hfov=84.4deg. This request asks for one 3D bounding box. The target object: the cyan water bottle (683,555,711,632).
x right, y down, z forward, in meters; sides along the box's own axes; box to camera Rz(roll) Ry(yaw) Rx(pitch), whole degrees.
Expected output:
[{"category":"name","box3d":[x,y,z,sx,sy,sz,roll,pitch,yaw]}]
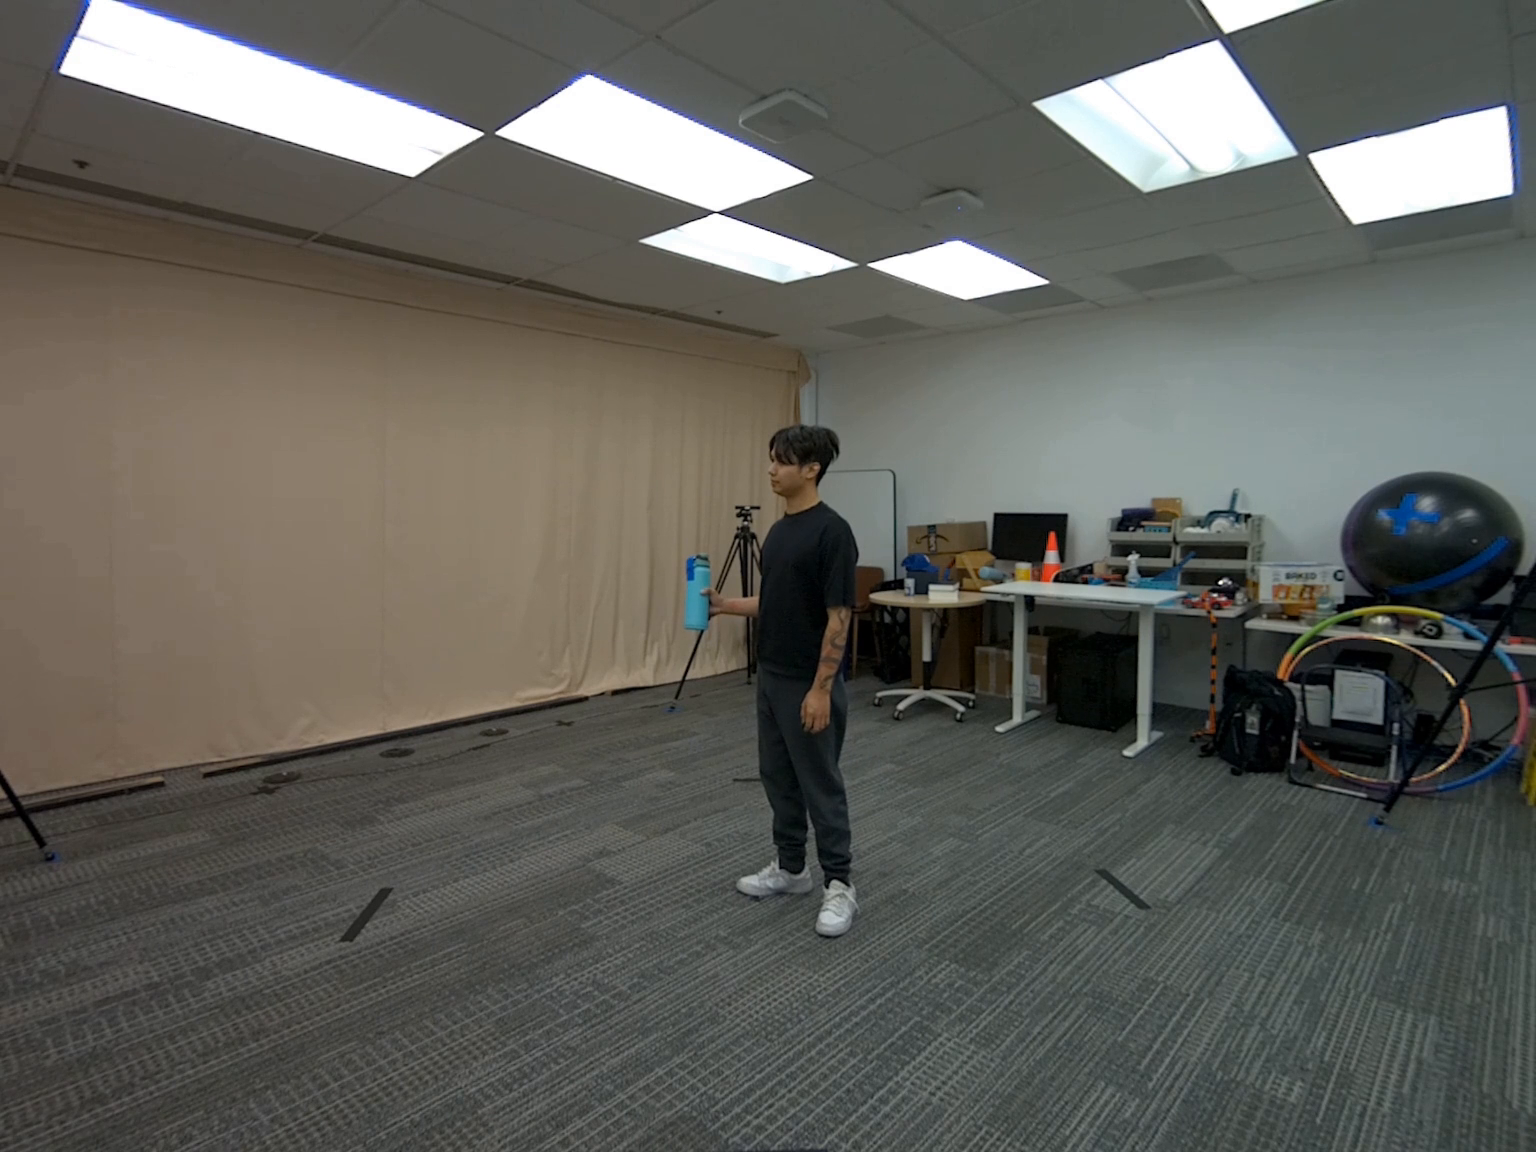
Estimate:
[{"category":"cyan water bottle","box3d":[-0.257,0.058,3.127,0.092,0.284,0.092,3,-5,-2]}]
